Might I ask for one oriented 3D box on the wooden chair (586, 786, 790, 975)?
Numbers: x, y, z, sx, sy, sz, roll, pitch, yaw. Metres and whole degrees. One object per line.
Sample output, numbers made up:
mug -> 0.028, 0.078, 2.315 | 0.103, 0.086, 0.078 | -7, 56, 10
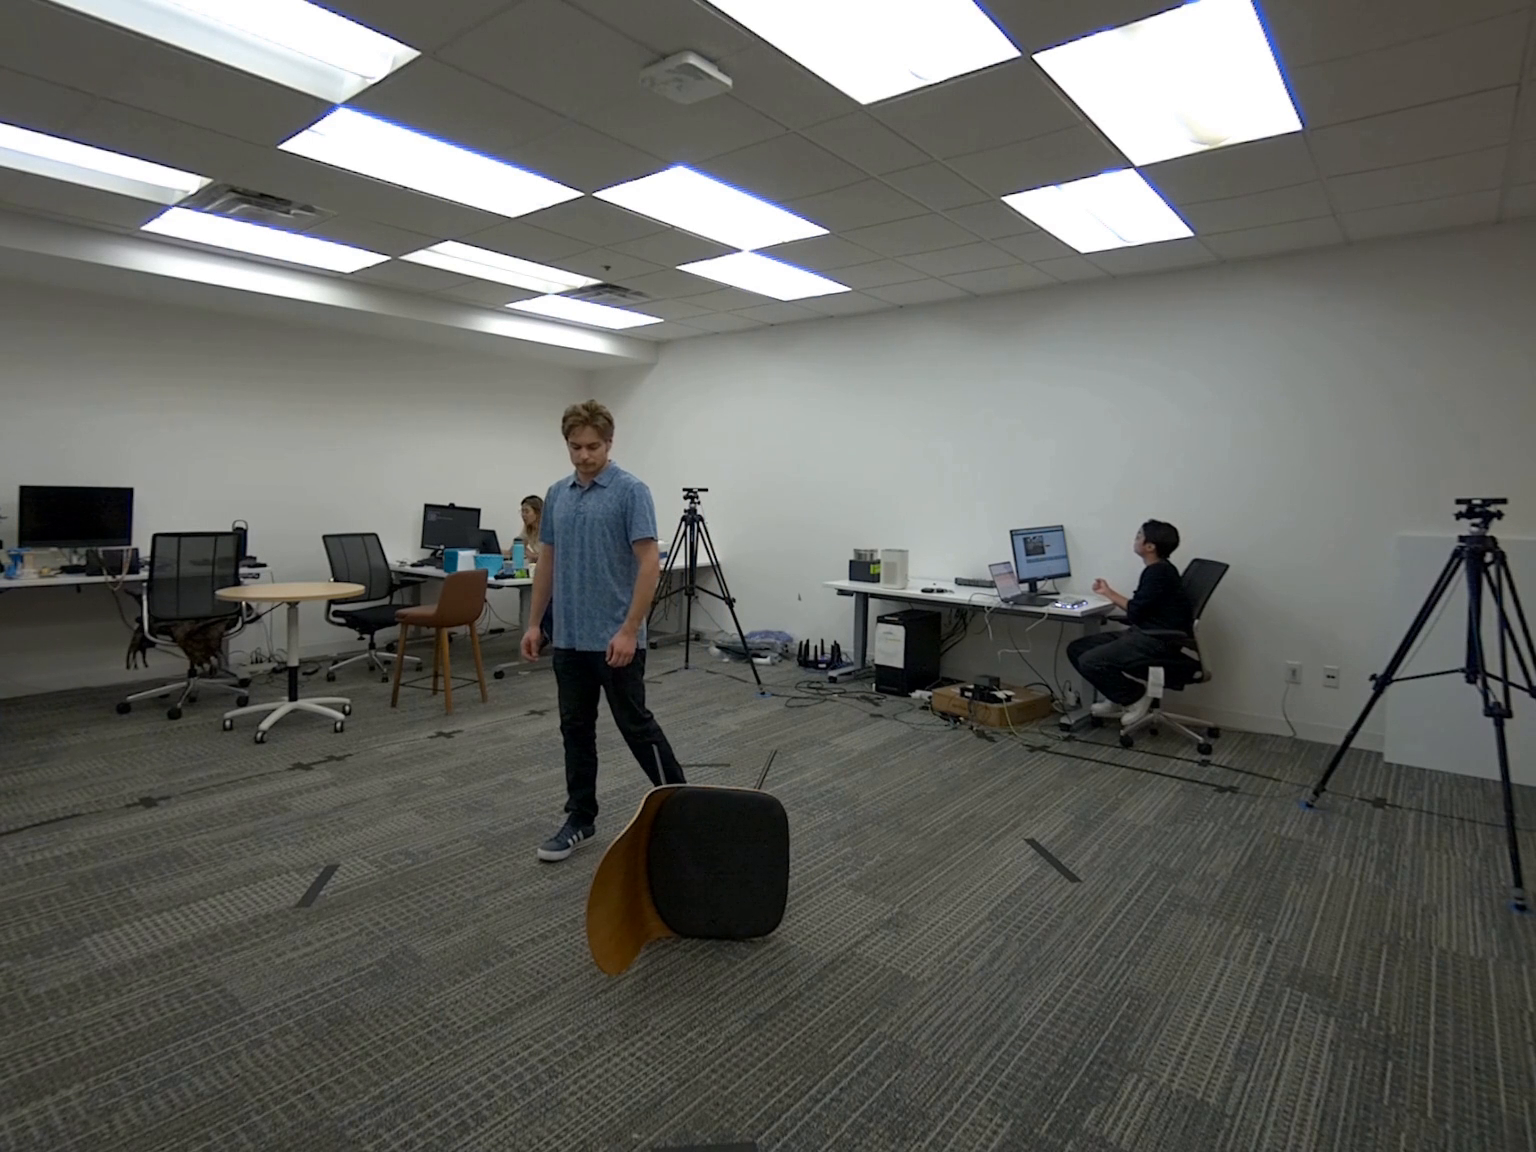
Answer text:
wooden chair -> -0.201, 0.882, 2.668 | 0.527, 0.477, 0.873 | 2, 4, 5
